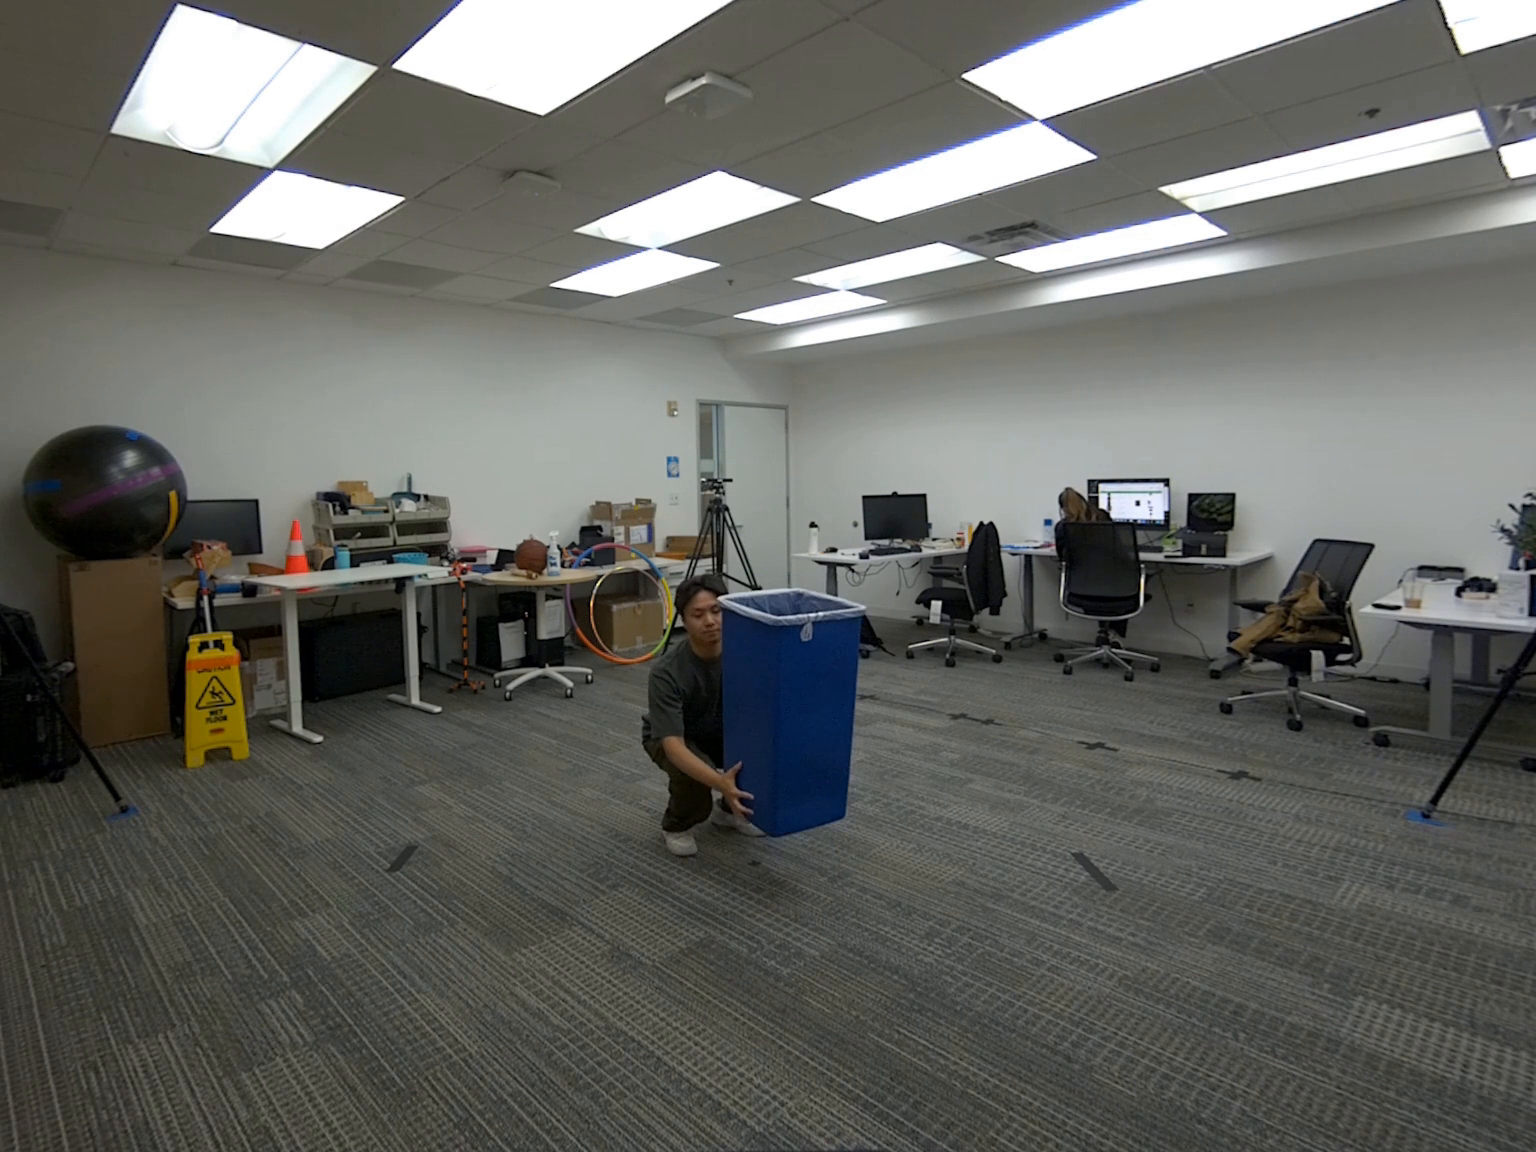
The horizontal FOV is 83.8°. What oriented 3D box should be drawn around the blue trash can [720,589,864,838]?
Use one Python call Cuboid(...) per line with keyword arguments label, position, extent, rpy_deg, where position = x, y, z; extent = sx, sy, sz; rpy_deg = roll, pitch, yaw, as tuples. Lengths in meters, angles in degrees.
Cuboid(label="blue trash can", position=(0.069, 0.432, 2.837), extent=(0.365, 0.709, 0.390), rpy_deg=(-4, 9, -33))
